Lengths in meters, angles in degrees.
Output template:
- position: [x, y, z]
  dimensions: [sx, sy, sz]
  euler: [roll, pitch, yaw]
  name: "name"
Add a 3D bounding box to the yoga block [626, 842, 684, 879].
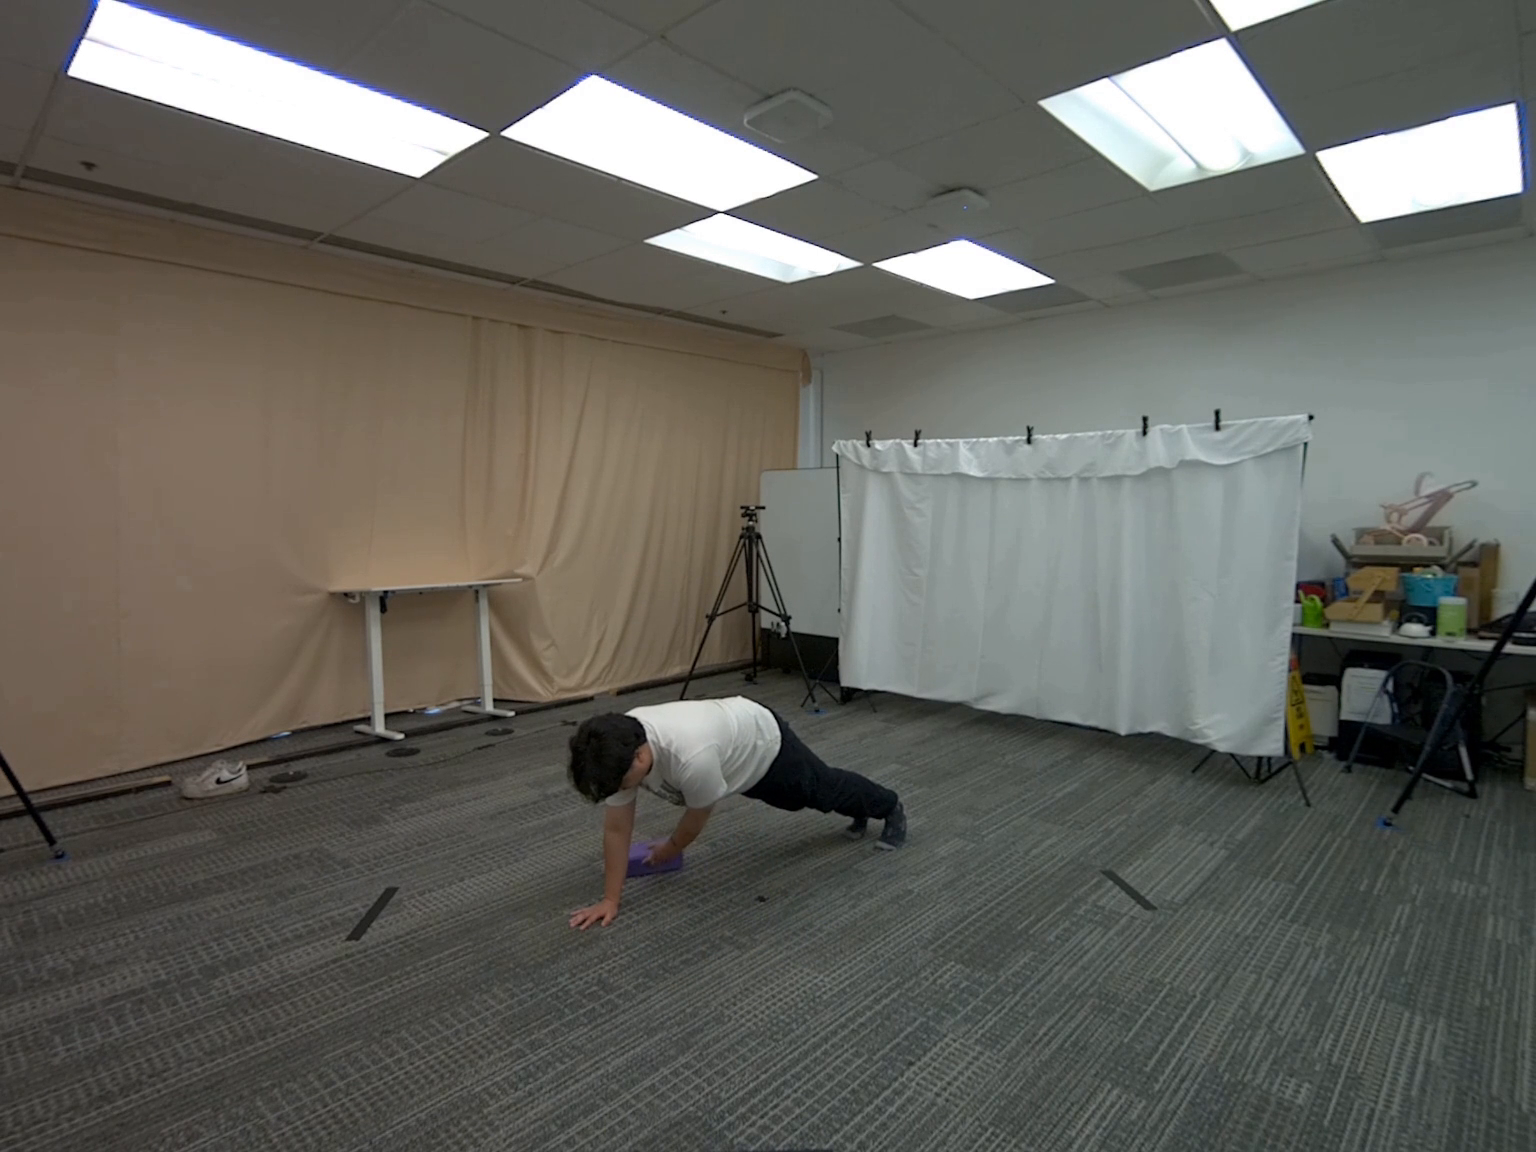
- position: [-0.452, 1.088, 3.258]
  dimensions: [0.225, 0.076, 0.152]
  euler: [-3, 5, -19]
  name: "yoga block"
